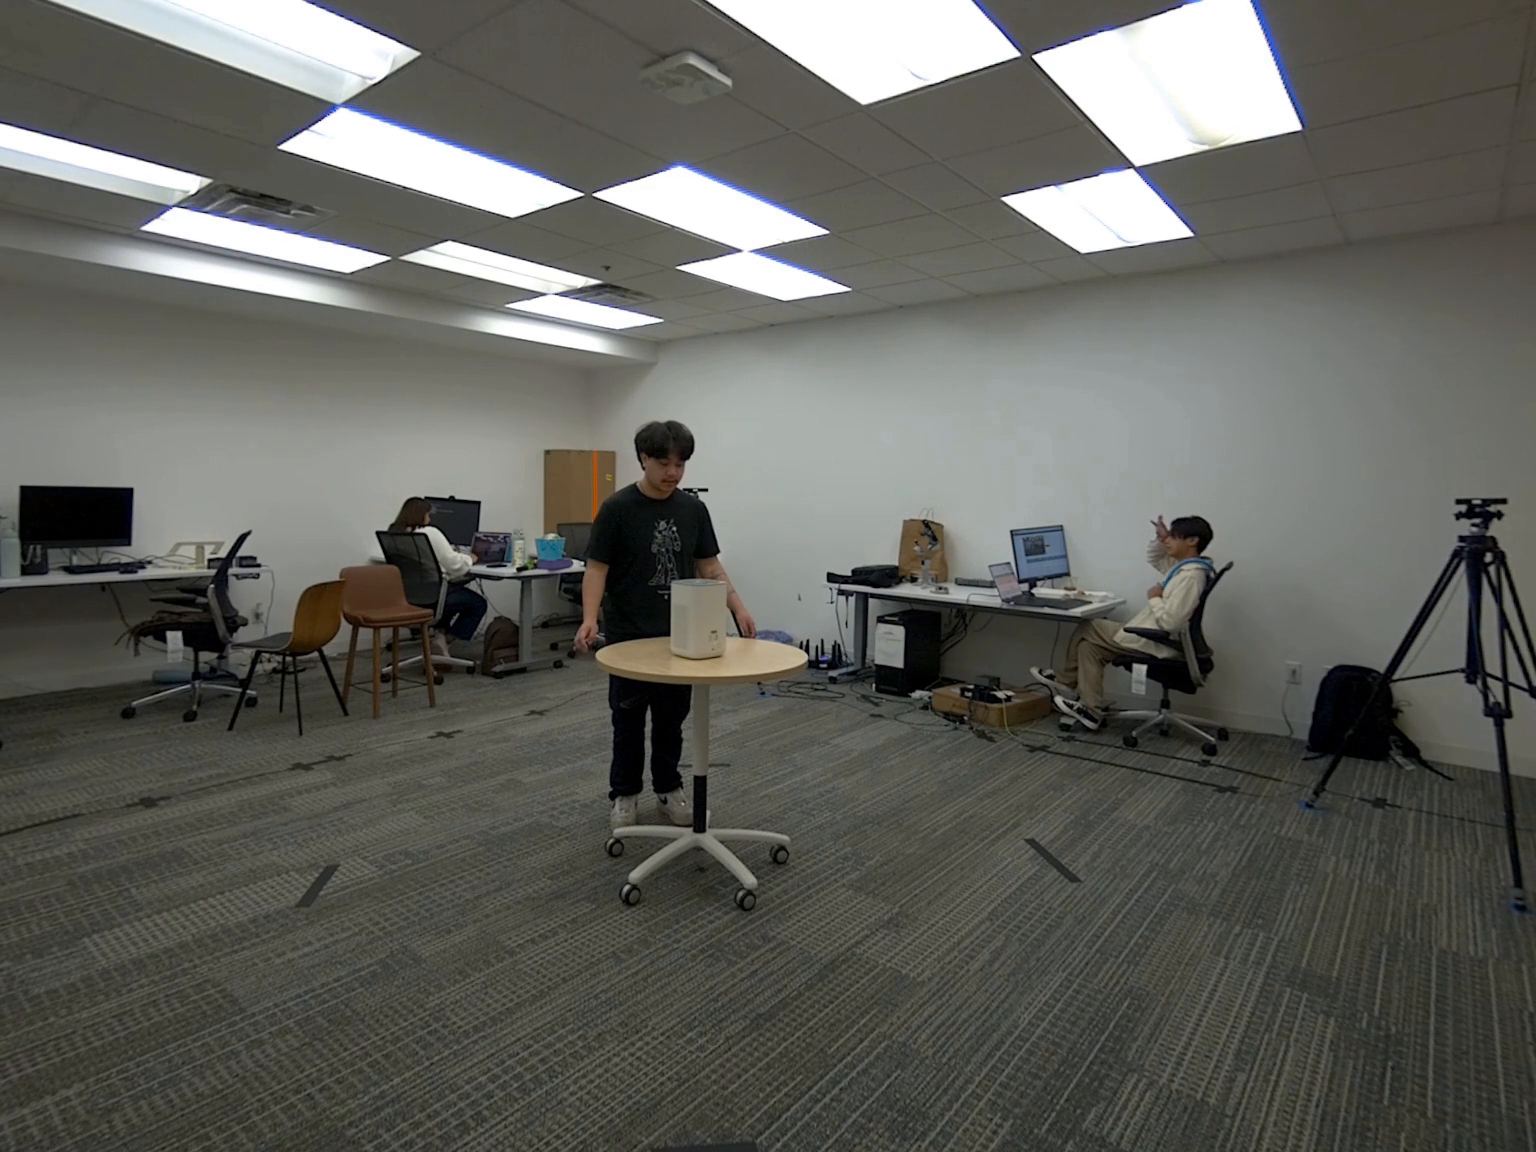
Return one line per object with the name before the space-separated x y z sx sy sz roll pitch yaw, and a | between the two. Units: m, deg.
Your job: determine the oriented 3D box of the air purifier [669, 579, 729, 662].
air purifier | -0.261 0.148 3.038 0.166 0.264 0.177 -3 5 -44
